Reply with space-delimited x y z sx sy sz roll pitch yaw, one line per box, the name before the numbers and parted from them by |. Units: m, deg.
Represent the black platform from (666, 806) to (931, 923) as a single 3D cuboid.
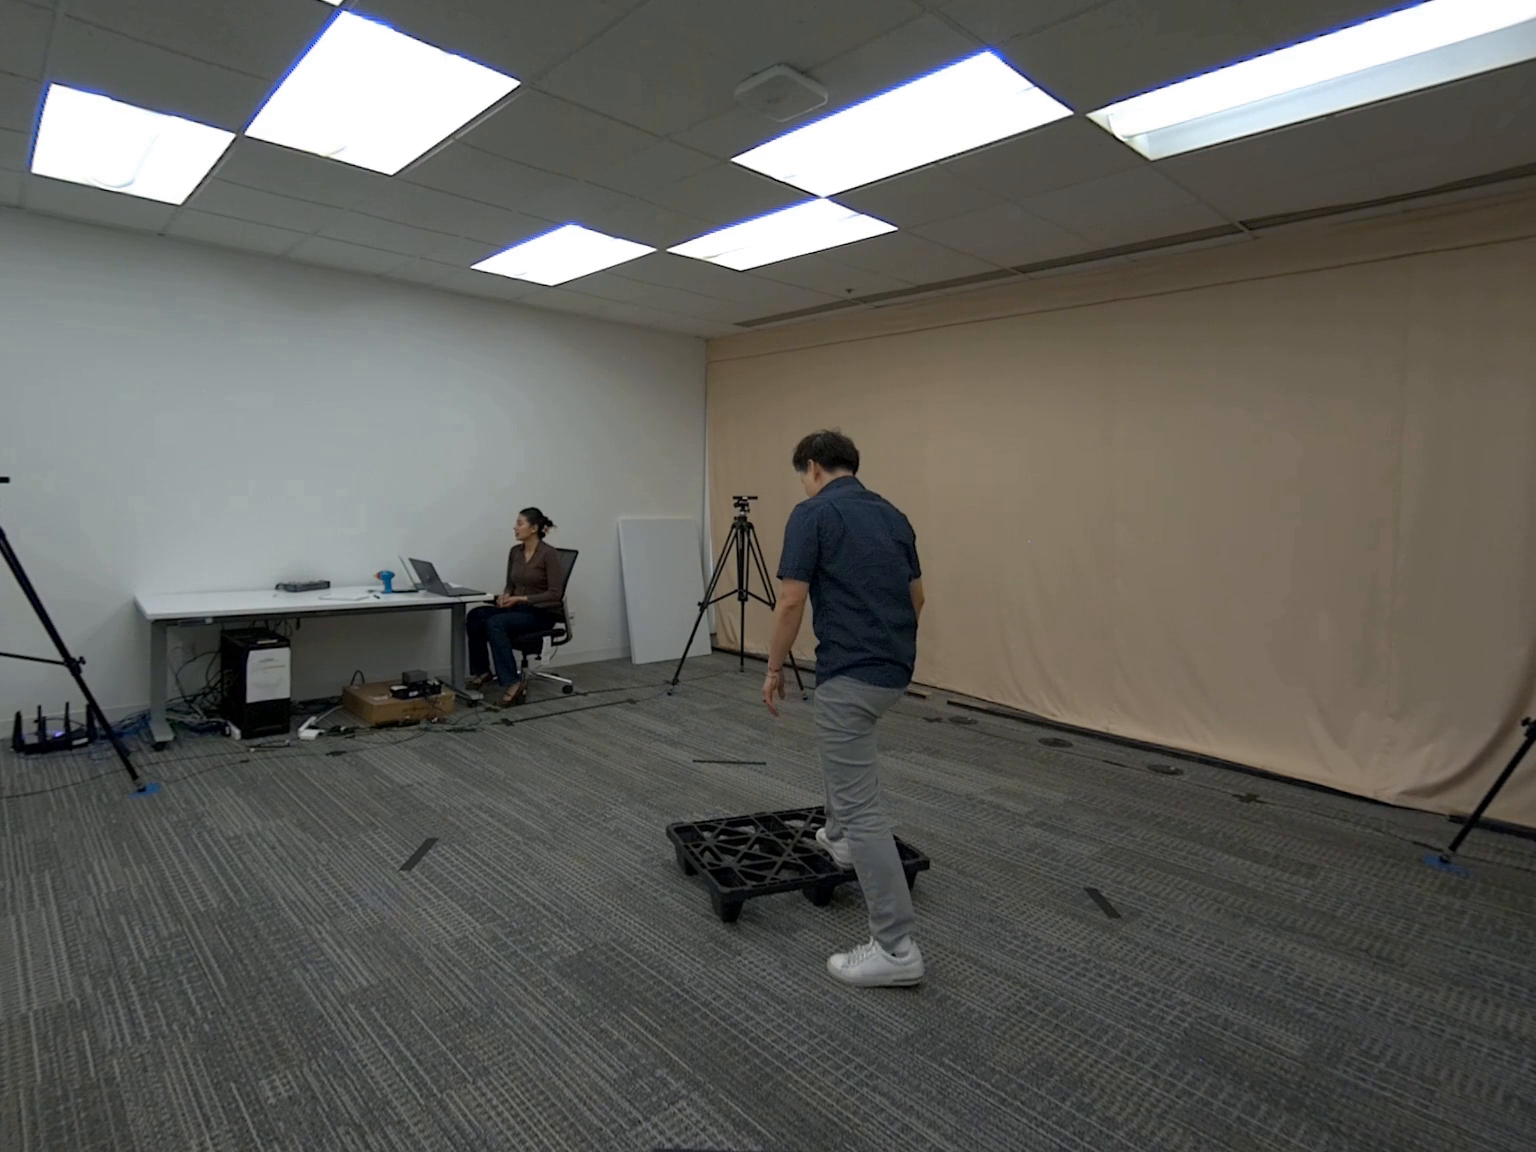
black platform | 0.089 1.042 3.091 0.792 0.143 0.617 -1 6 -23
